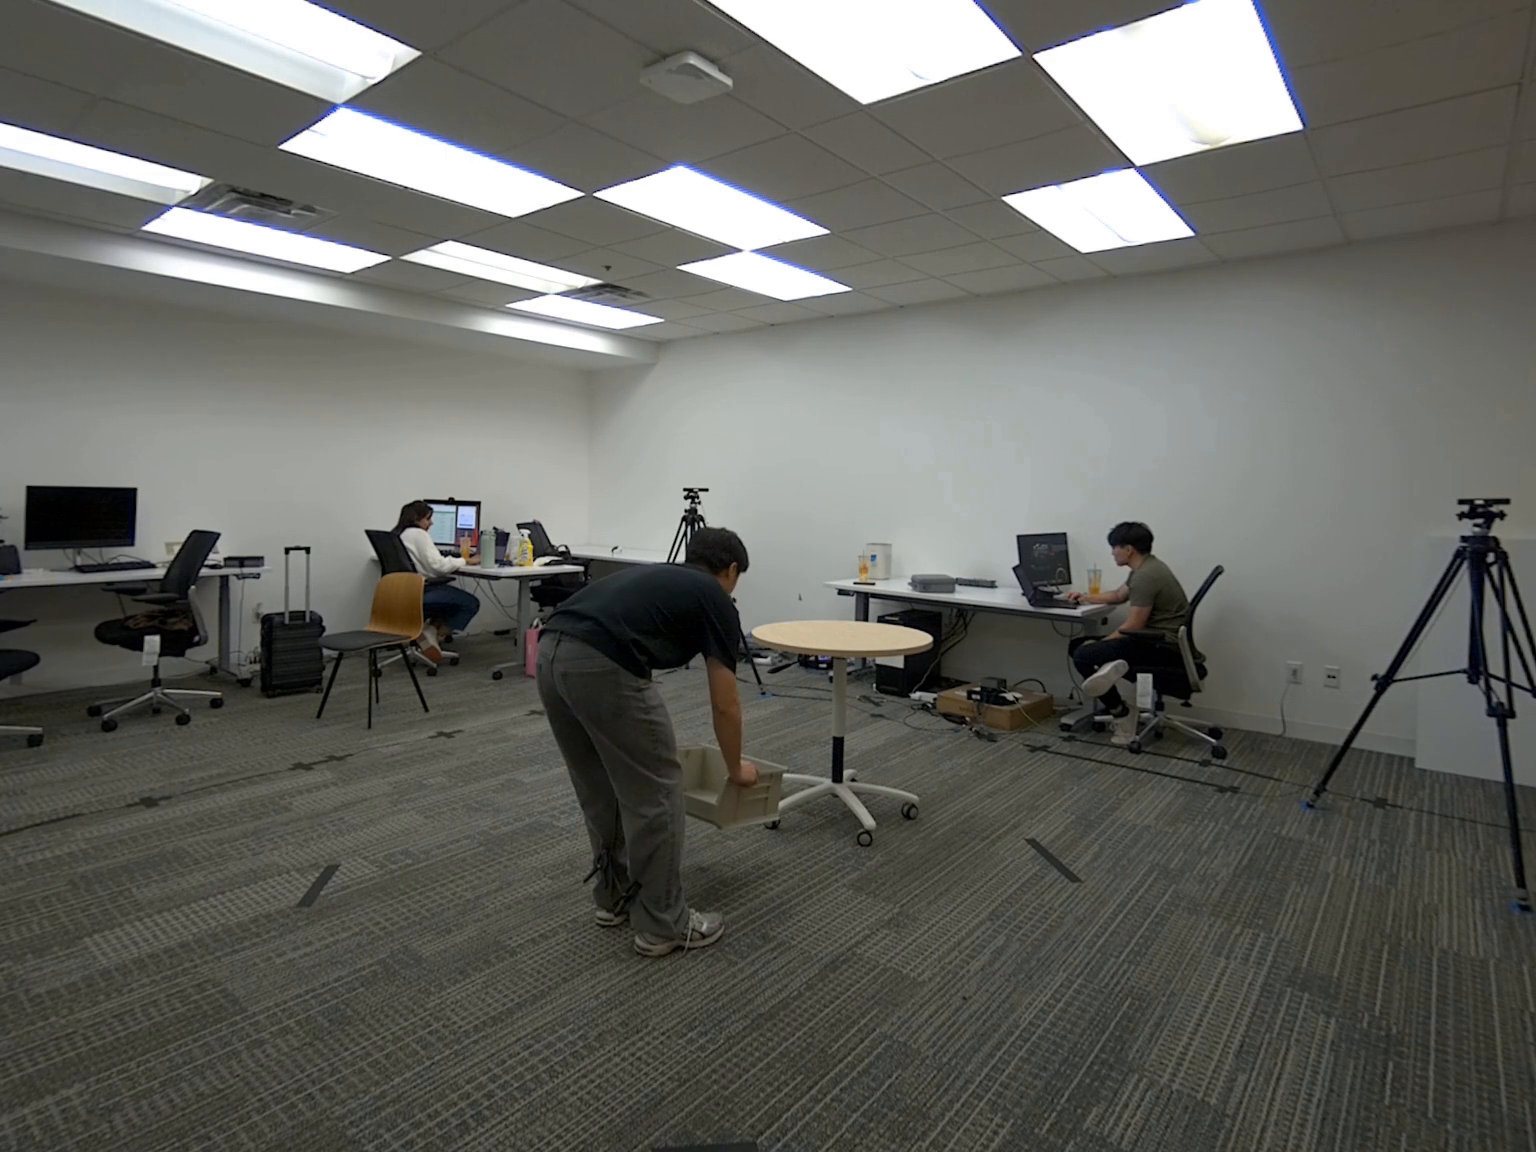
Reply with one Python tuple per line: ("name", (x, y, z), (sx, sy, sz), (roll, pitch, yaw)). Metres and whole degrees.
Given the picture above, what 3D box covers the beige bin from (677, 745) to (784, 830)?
("beige bin", (-0.216, 0.724, 3.024), (0.436, 0.190, 0.364), (4, -4, 39))
